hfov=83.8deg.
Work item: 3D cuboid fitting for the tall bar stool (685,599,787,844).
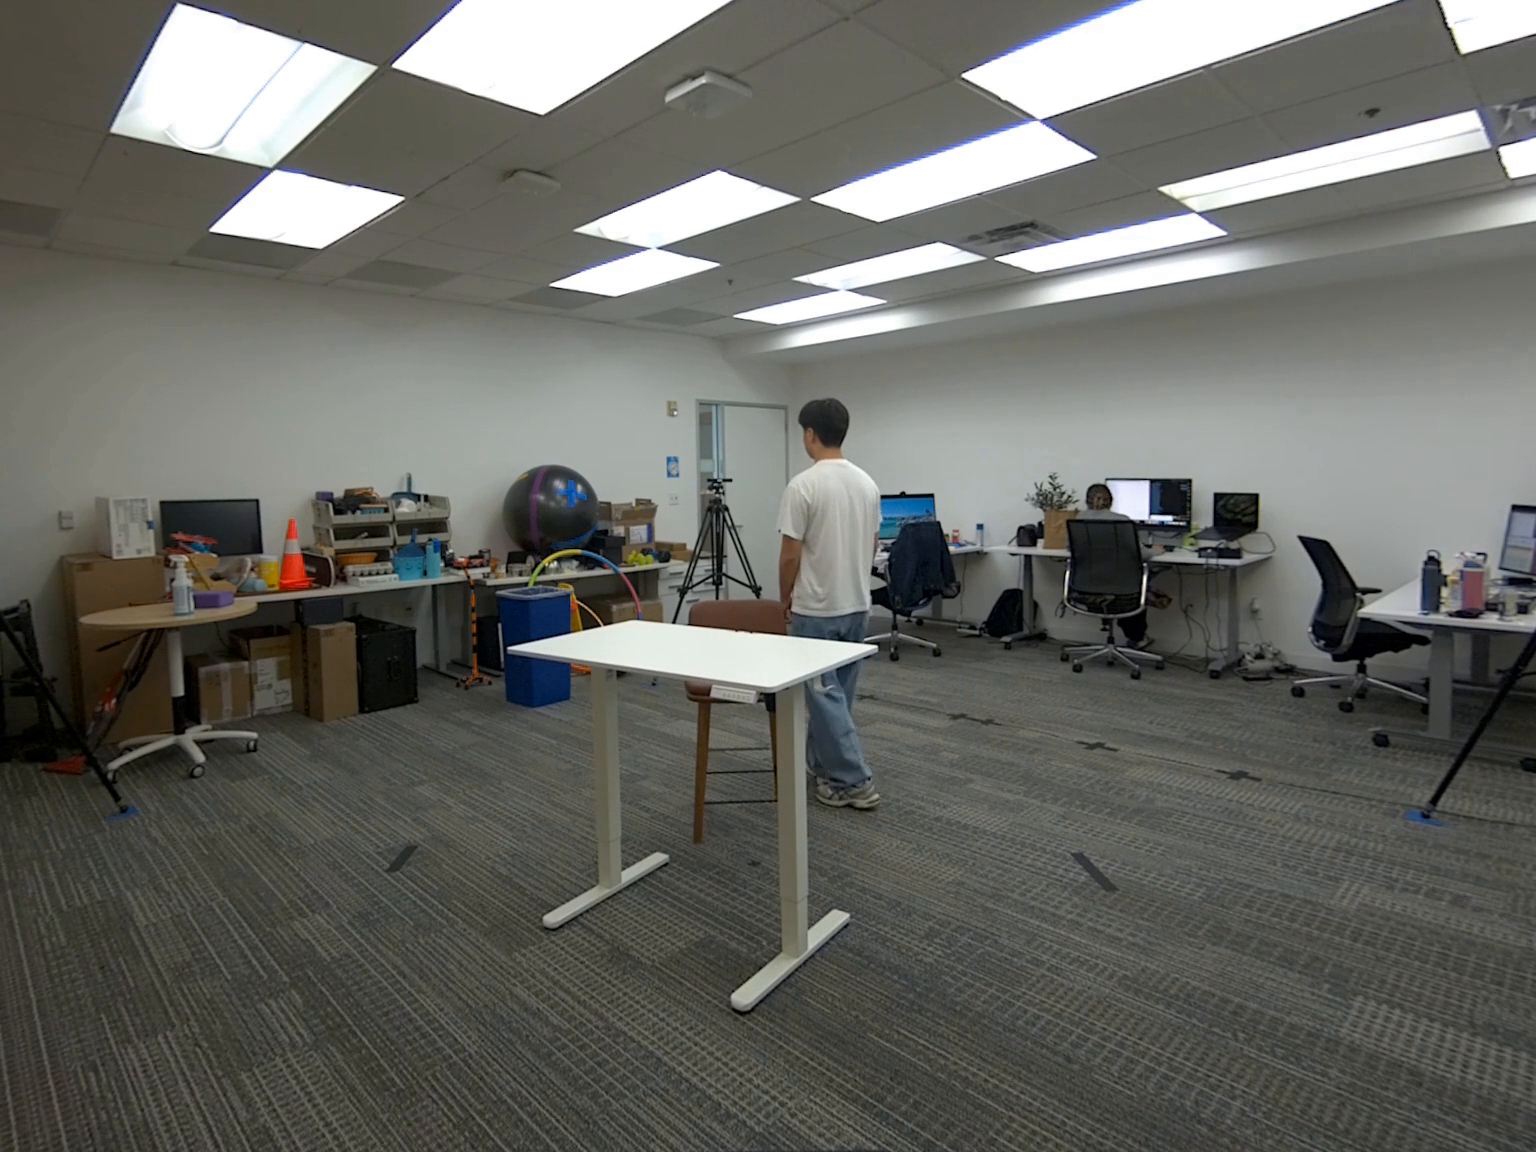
[{"bbox_3d":[-0.100,0.569,3.489,0.455,0.888,0.470,-1,2,-4],"label":"tall bar stool"}]
